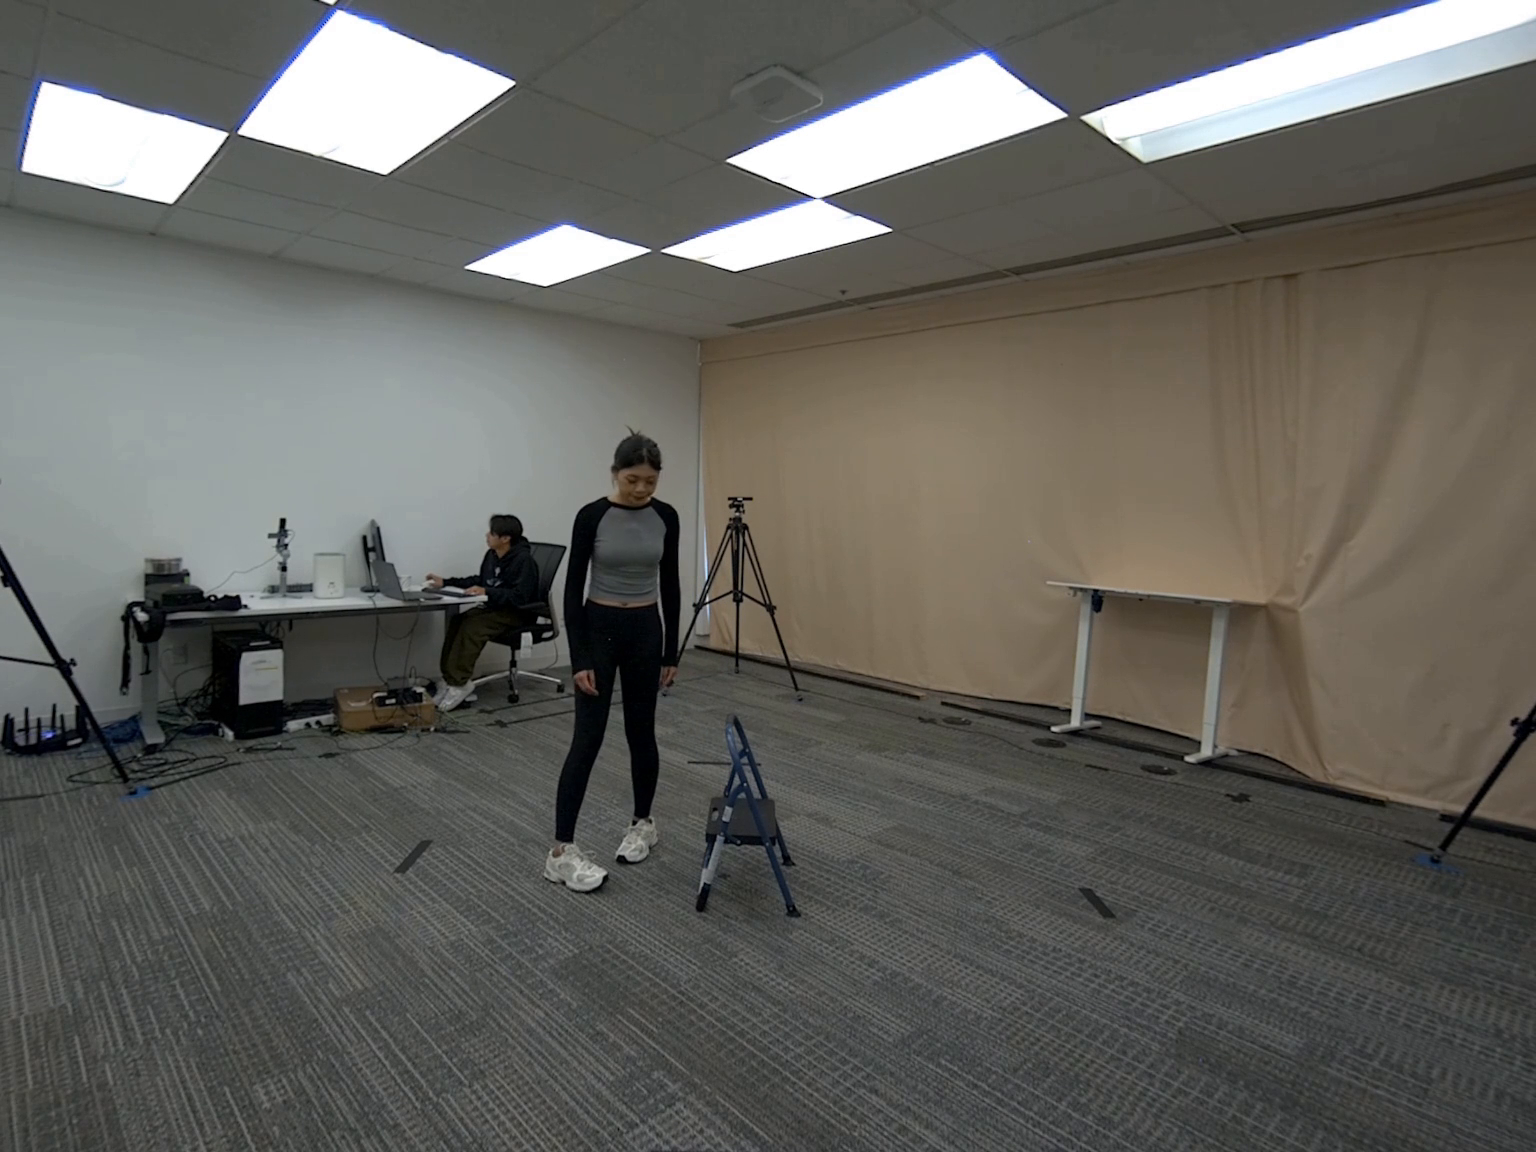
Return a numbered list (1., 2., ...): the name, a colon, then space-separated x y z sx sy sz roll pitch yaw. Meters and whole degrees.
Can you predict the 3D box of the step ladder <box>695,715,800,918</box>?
1. step ladder: -0.069 0.820 3.005 0.349 0.605 0.431 2 3 0
